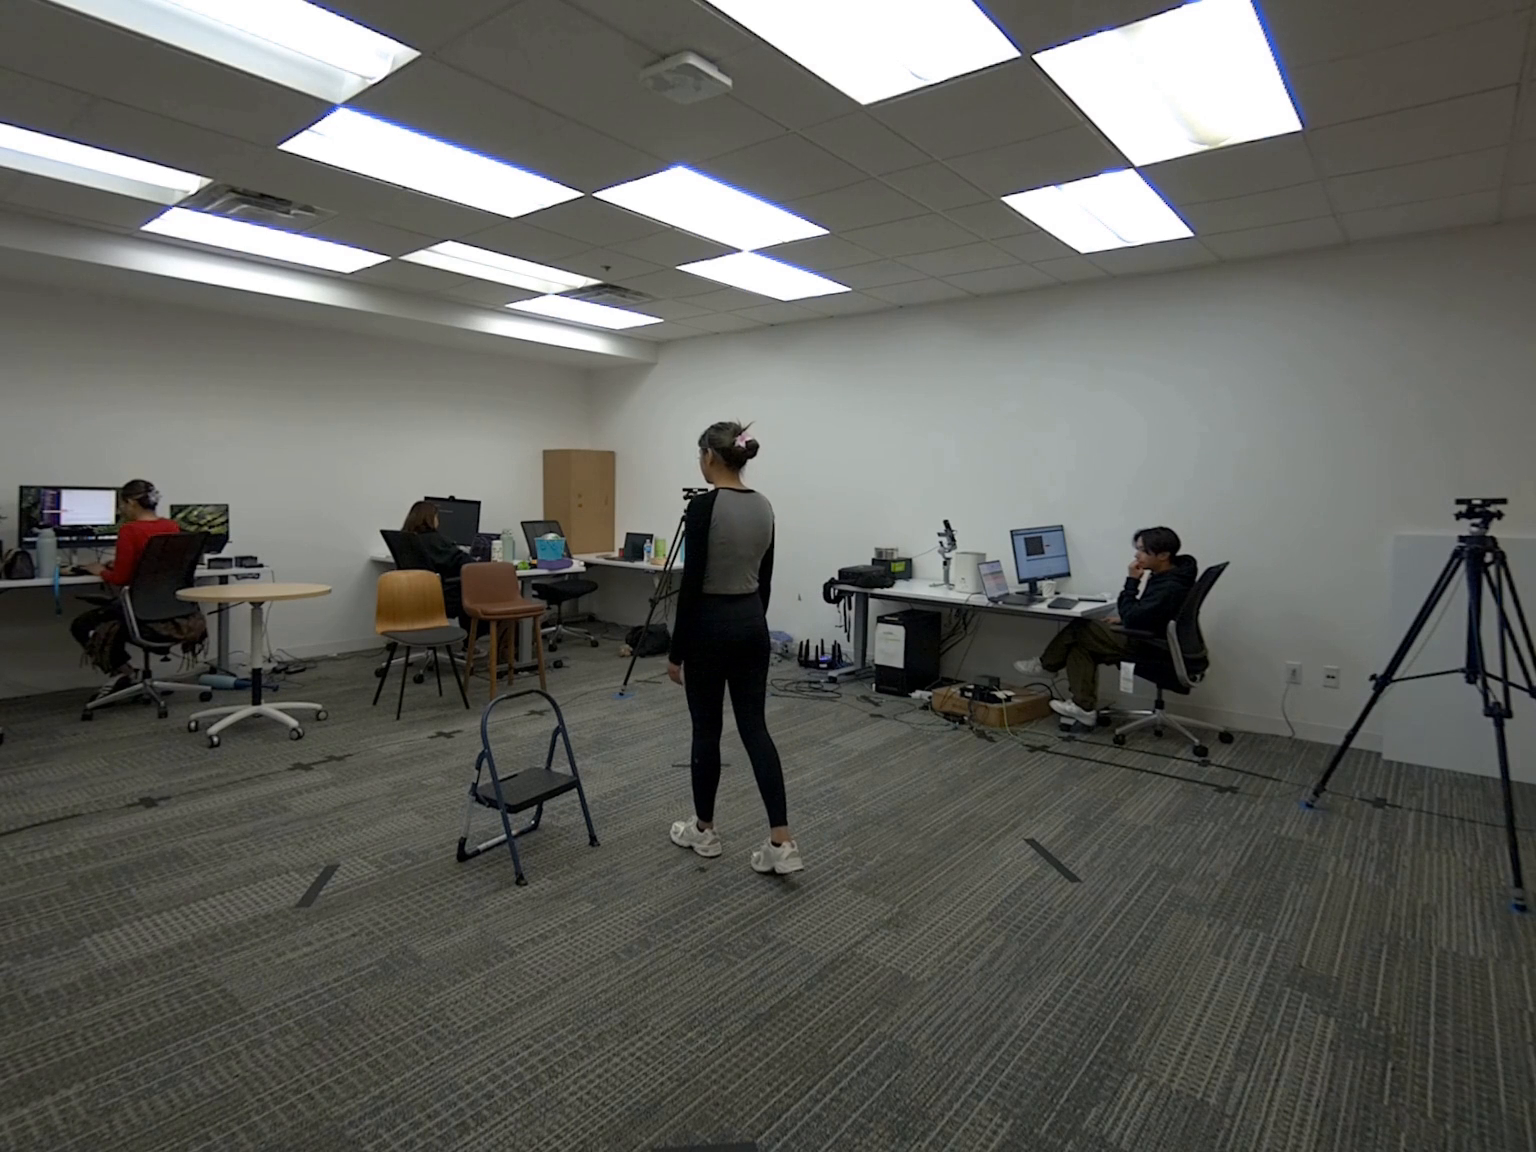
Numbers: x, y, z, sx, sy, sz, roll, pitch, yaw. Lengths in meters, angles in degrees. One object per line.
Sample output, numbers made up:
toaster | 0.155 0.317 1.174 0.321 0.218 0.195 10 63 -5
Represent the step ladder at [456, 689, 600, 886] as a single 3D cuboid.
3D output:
step ladder | -0.909 0.745 3.208 0.359 0.605 0.419 3 3 30
